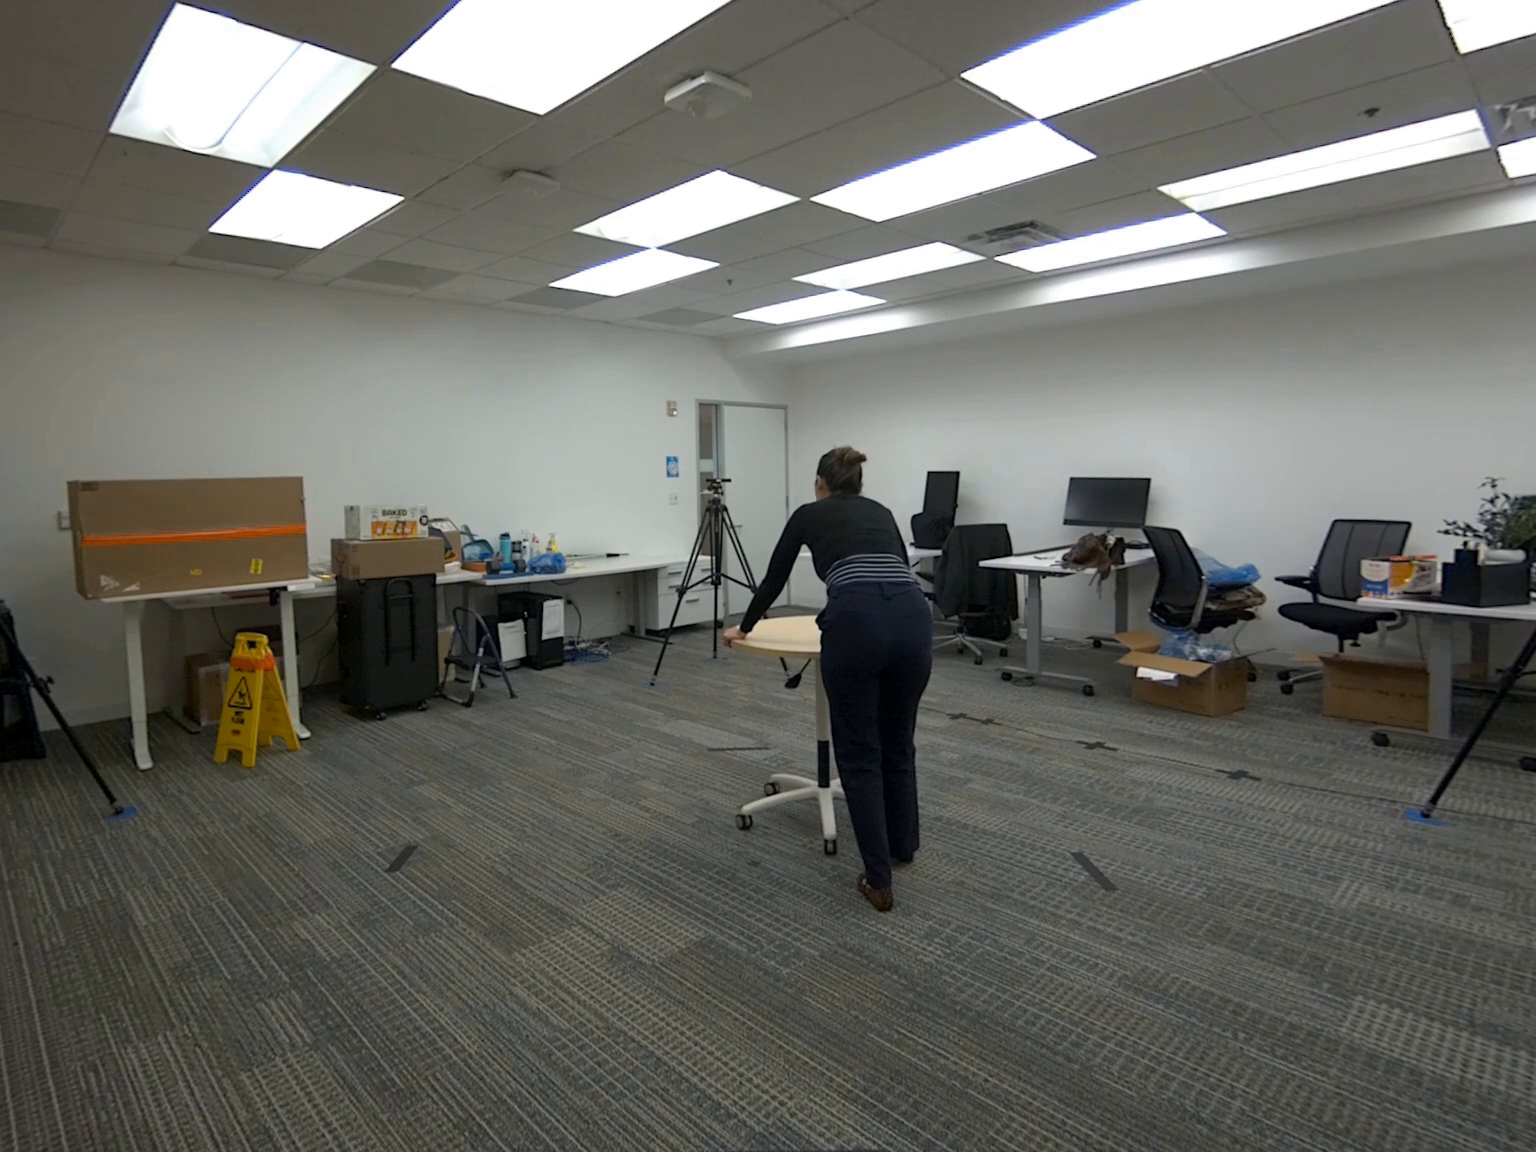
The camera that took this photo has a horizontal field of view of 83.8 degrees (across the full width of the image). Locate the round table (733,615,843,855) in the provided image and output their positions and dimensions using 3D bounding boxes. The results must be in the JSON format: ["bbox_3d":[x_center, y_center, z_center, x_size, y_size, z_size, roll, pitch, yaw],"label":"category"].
[{"bbox_3d":[0.218,0.612,3.473,0.763,0.791,0.768,-1,5,-2],"label":"round table"}]
